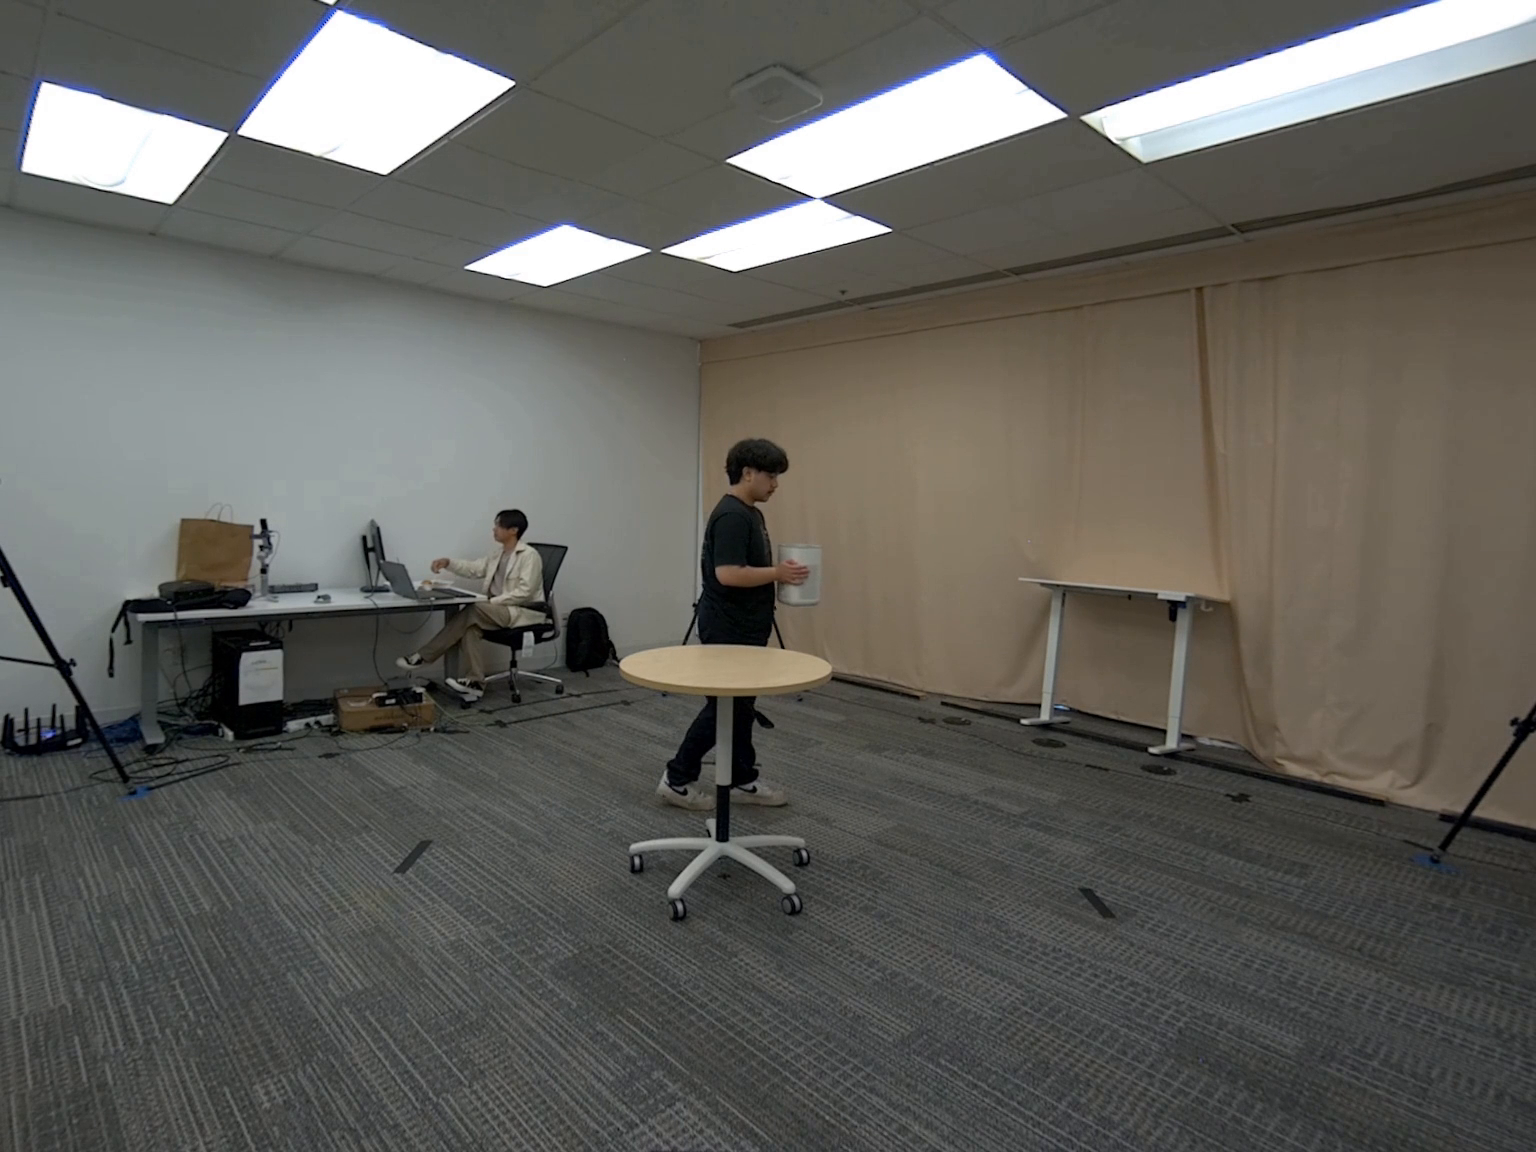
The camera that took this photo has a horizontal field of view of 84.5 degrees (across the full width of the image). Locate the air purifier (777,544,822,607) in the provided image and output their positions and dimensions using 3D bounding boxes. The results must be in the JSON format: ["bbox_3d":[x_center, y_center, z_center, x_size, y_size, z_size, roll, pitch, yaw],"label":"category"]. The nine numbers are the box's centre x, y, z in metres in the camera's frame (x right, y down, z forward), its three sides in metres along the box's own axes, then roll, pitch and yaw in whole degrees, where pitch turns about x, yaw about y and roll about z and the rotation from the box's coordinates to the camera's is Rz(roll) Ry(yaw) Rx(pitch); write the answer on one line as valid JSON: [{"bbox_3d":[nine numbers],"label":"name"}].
[{"bbox_3d":[0.127,-0.010,3.758,0.168,0.264,0.175,-1,7,-29],"label":"air purifier"}]
